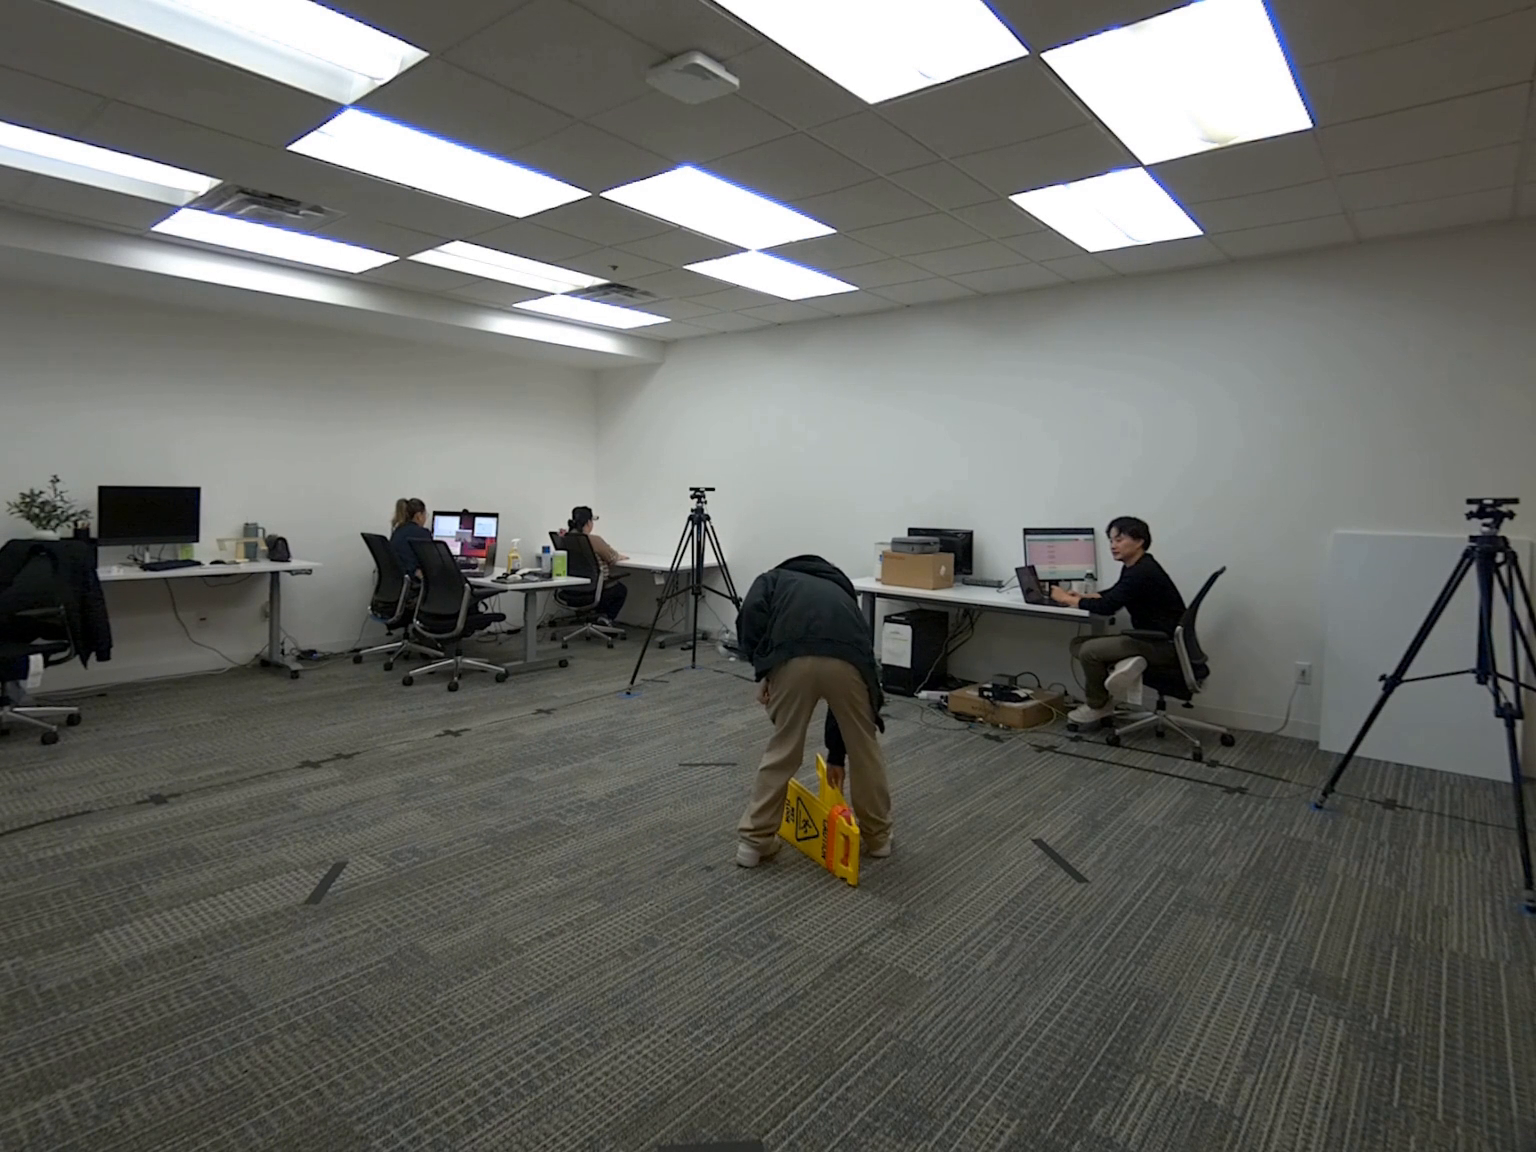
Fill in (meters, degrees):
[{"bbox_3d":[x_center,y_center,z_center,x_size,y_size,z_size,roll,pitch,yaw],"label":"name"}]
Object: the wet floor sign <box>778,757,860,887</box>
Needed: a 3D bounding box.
[{"bbox_3d":[0.202,0.931,3.277,0.284,0.280,0.662,-1,8,-19],"label":"wet floor sign"}]
